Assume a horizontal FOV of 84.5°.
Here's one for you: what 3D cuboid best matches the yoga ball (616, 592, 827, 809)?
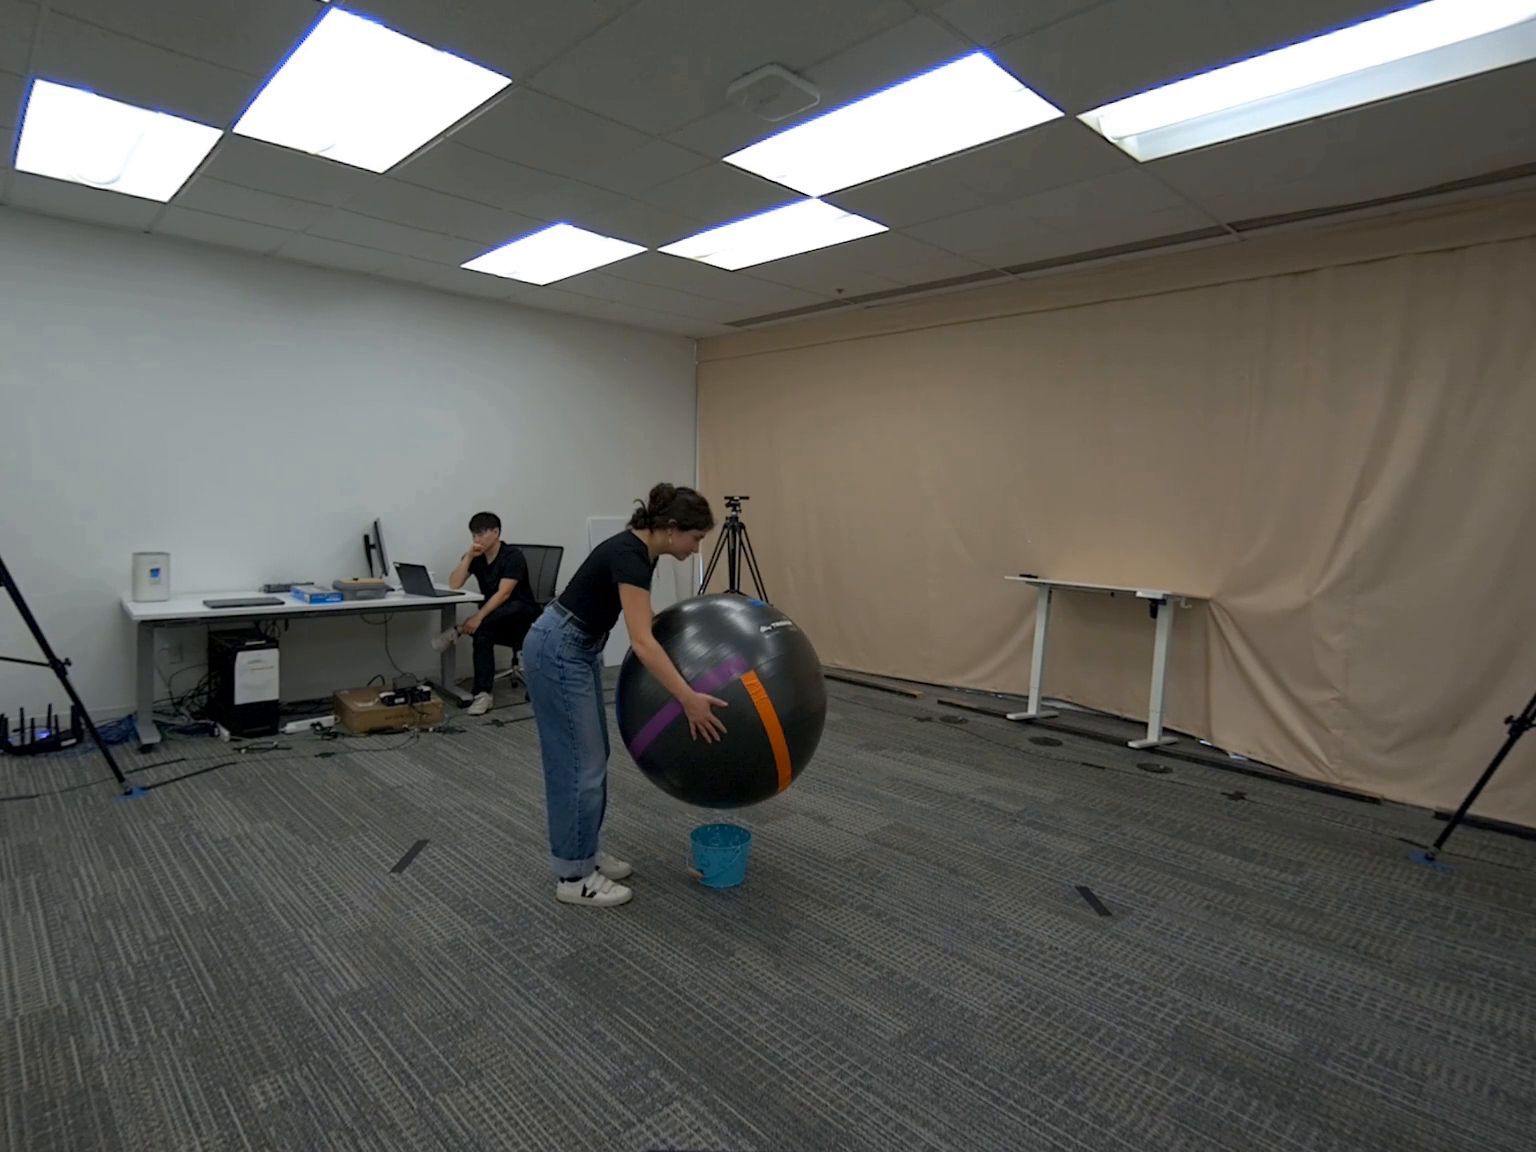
[{"bbox_3d":[-0.170,0.441,3.023,0.757,0.756,0.760,1,4,-1],"label":"yoga ball"}]
